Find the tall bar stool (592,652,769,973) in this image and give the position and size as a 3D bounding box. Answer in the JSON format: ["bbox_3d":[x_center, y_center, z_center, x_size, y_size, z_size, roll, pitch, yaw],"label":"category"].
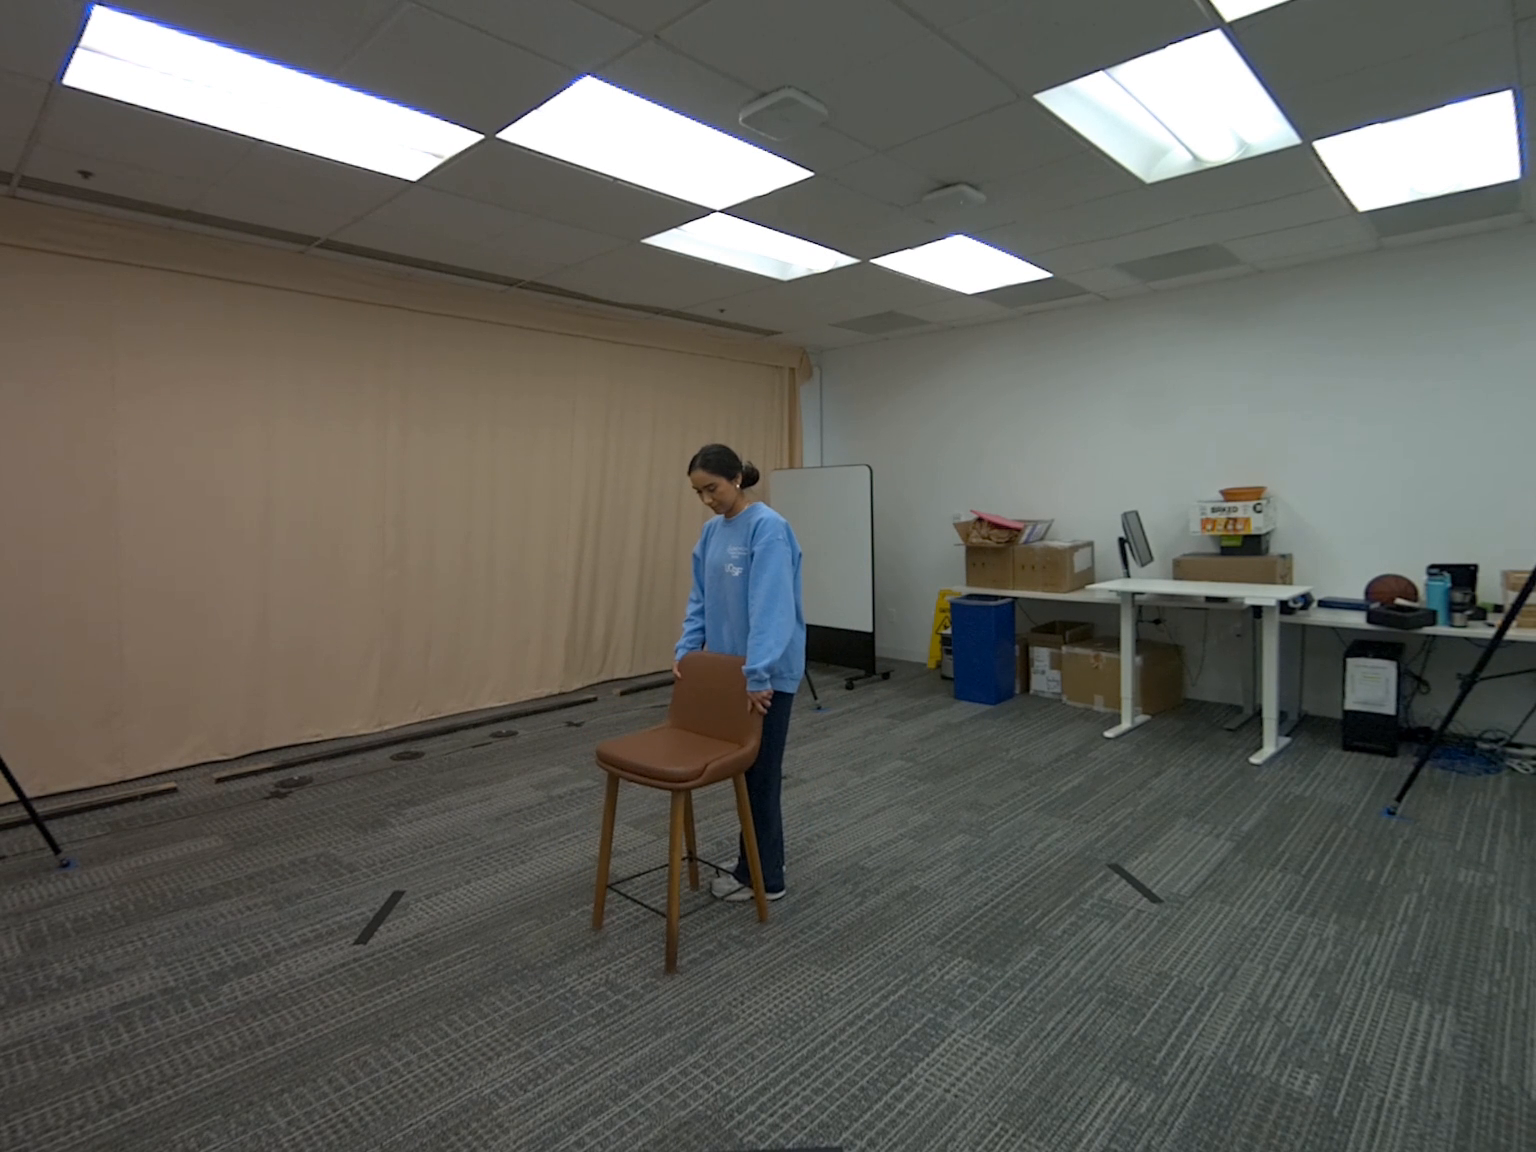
[{"bbox_3d":[-0.285,0.726,2.776,0.453,0.889,0.472,-1,2,-44],"label":"tall bar stool"}]
